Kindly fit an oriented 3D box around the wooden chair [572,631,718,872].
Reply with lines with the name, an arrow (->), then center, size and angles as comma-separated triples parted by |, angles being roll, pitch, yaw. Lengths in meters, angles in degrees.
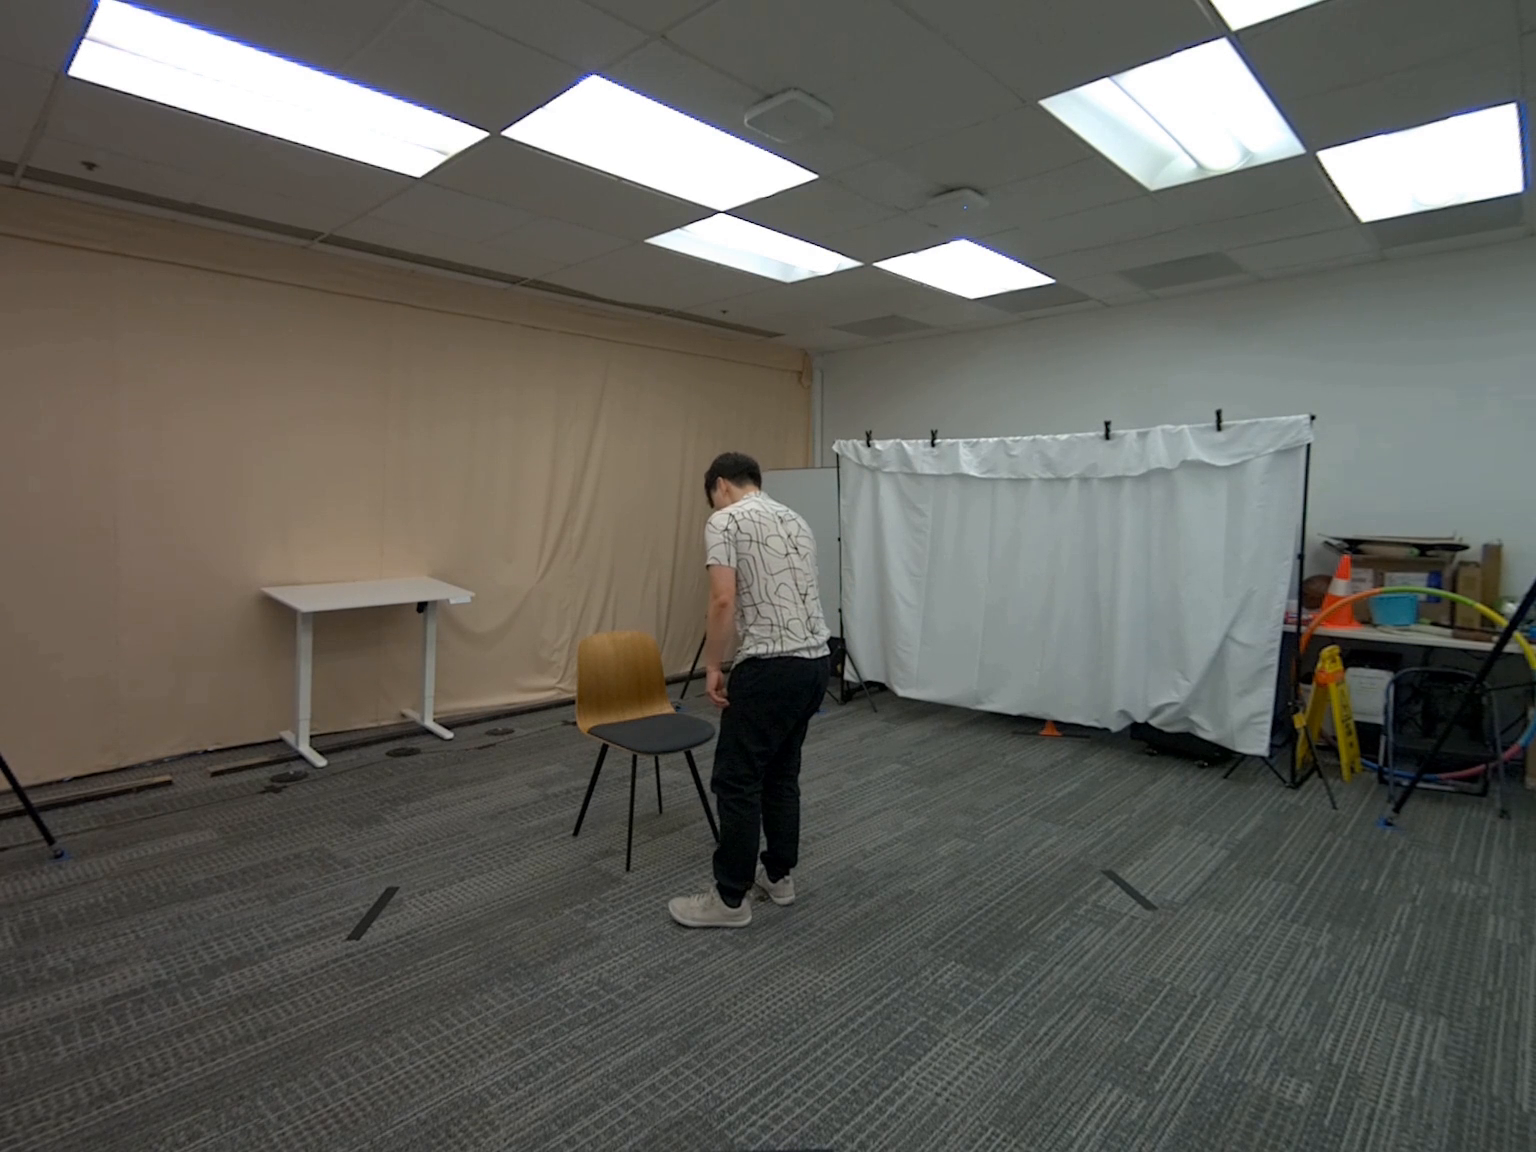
wooden chair -> -0.507, 0.679, 3.491 | 0.464, 0.878, 0.539 | -3, -1, -38
